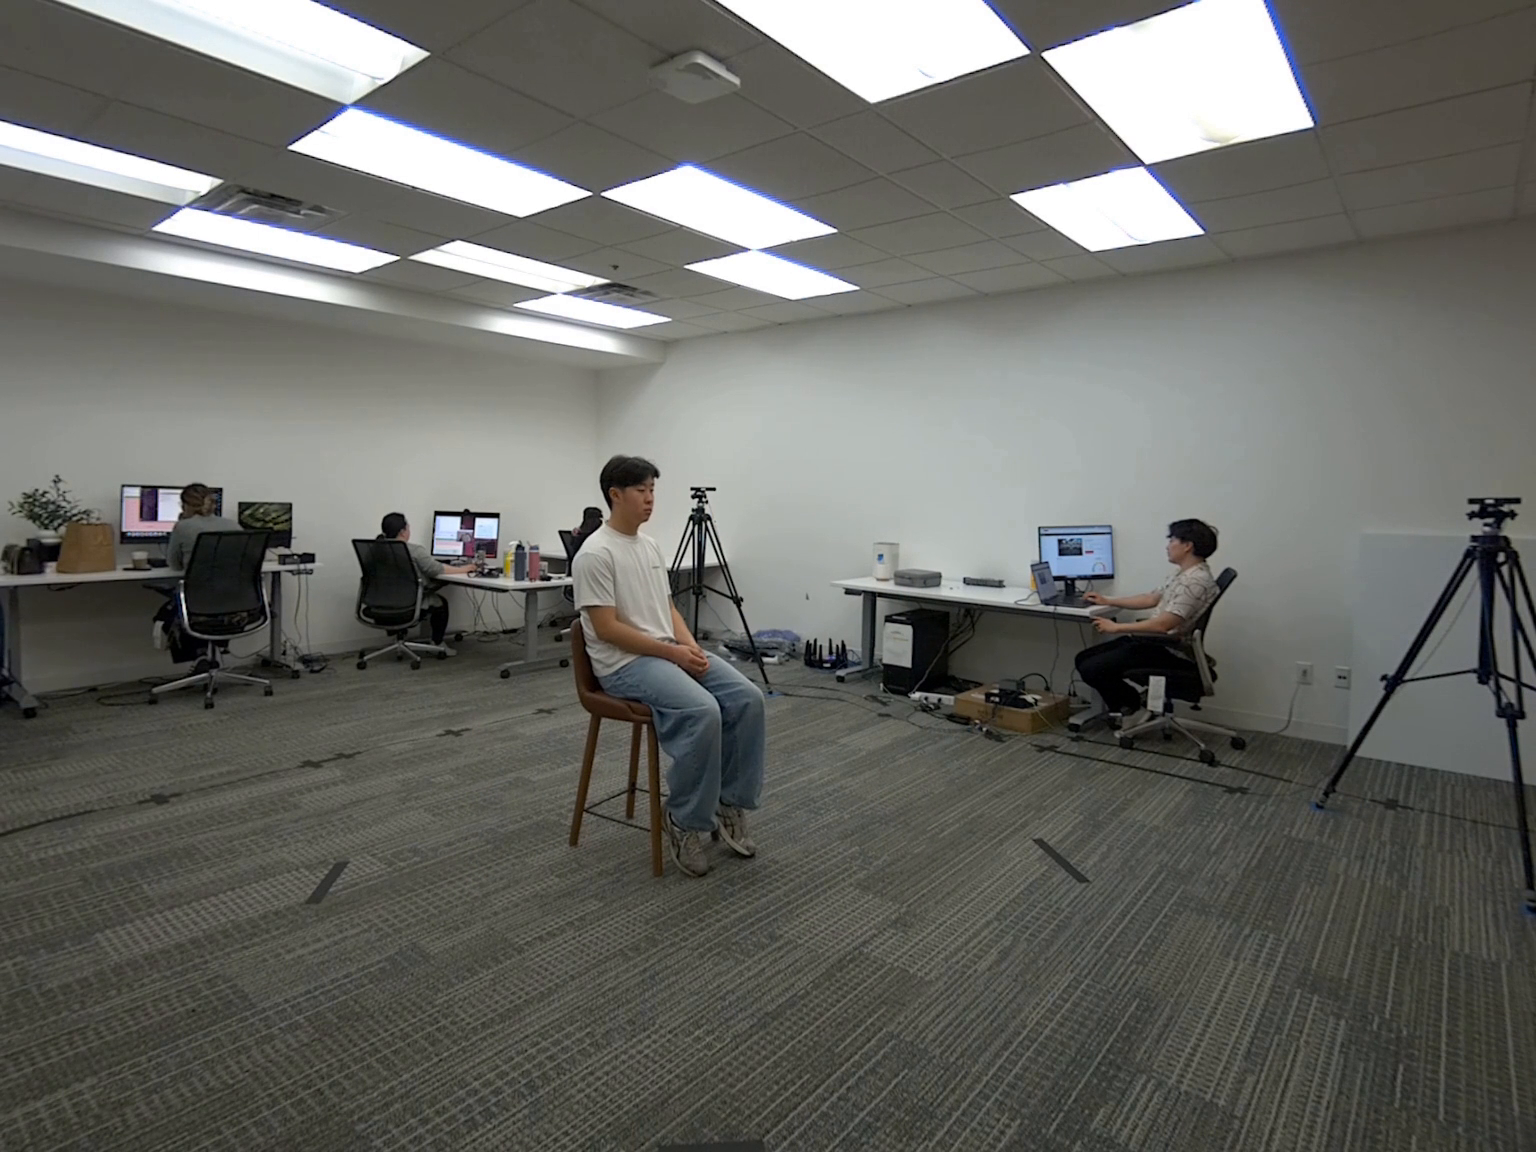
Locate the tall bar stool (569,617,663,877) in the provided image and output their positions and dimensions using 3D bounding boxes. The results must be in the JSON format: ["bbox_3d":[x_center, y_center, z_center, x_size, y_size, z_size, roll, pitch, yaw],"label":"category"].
[{"bbox_3d":[-0.499,0.606,3.316,0.481,0.889,0.444,0,1,31],"label":"tall bar stool"}]
